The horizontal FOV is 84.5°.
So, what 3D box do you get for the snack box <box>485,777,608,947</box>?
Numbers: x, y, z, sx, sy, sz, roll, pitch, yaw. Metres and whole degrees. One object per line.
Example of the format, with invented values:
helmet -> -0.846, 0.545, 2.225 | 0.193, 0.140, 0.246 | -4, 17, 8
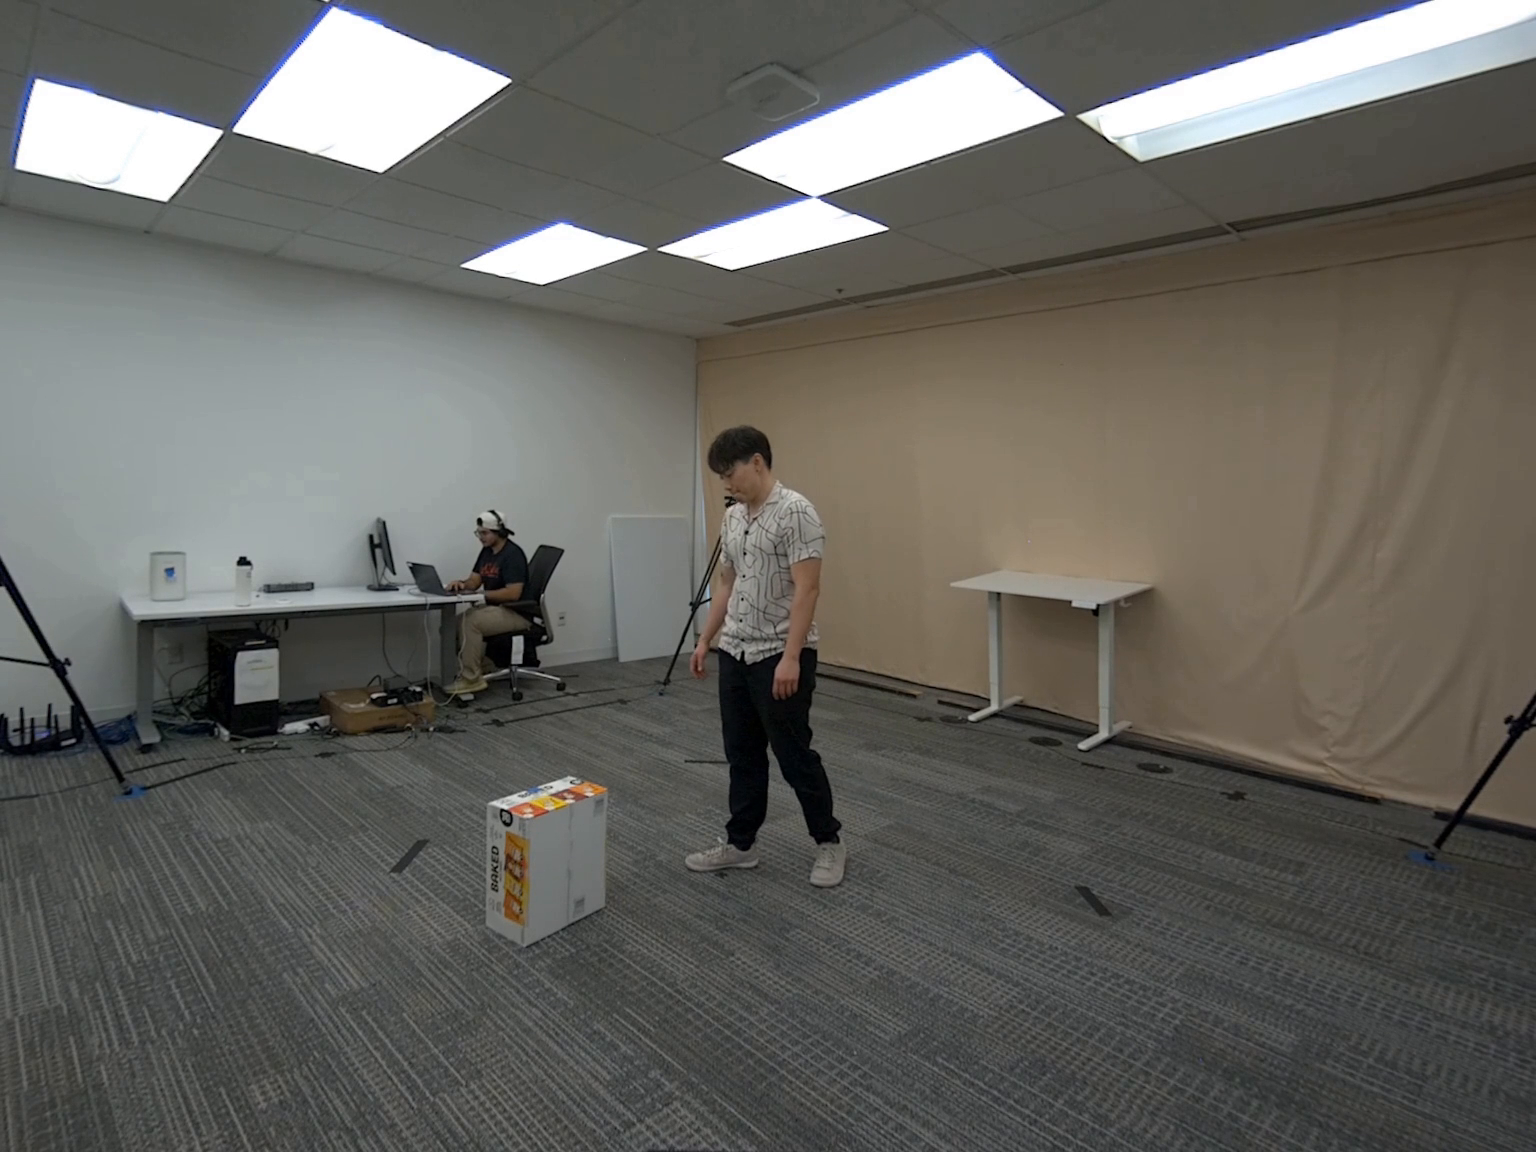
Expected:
snack box -> -0.725, 0.920, 2.753 | 0.211, 0.404, 0.333 | 4, 4, 36
